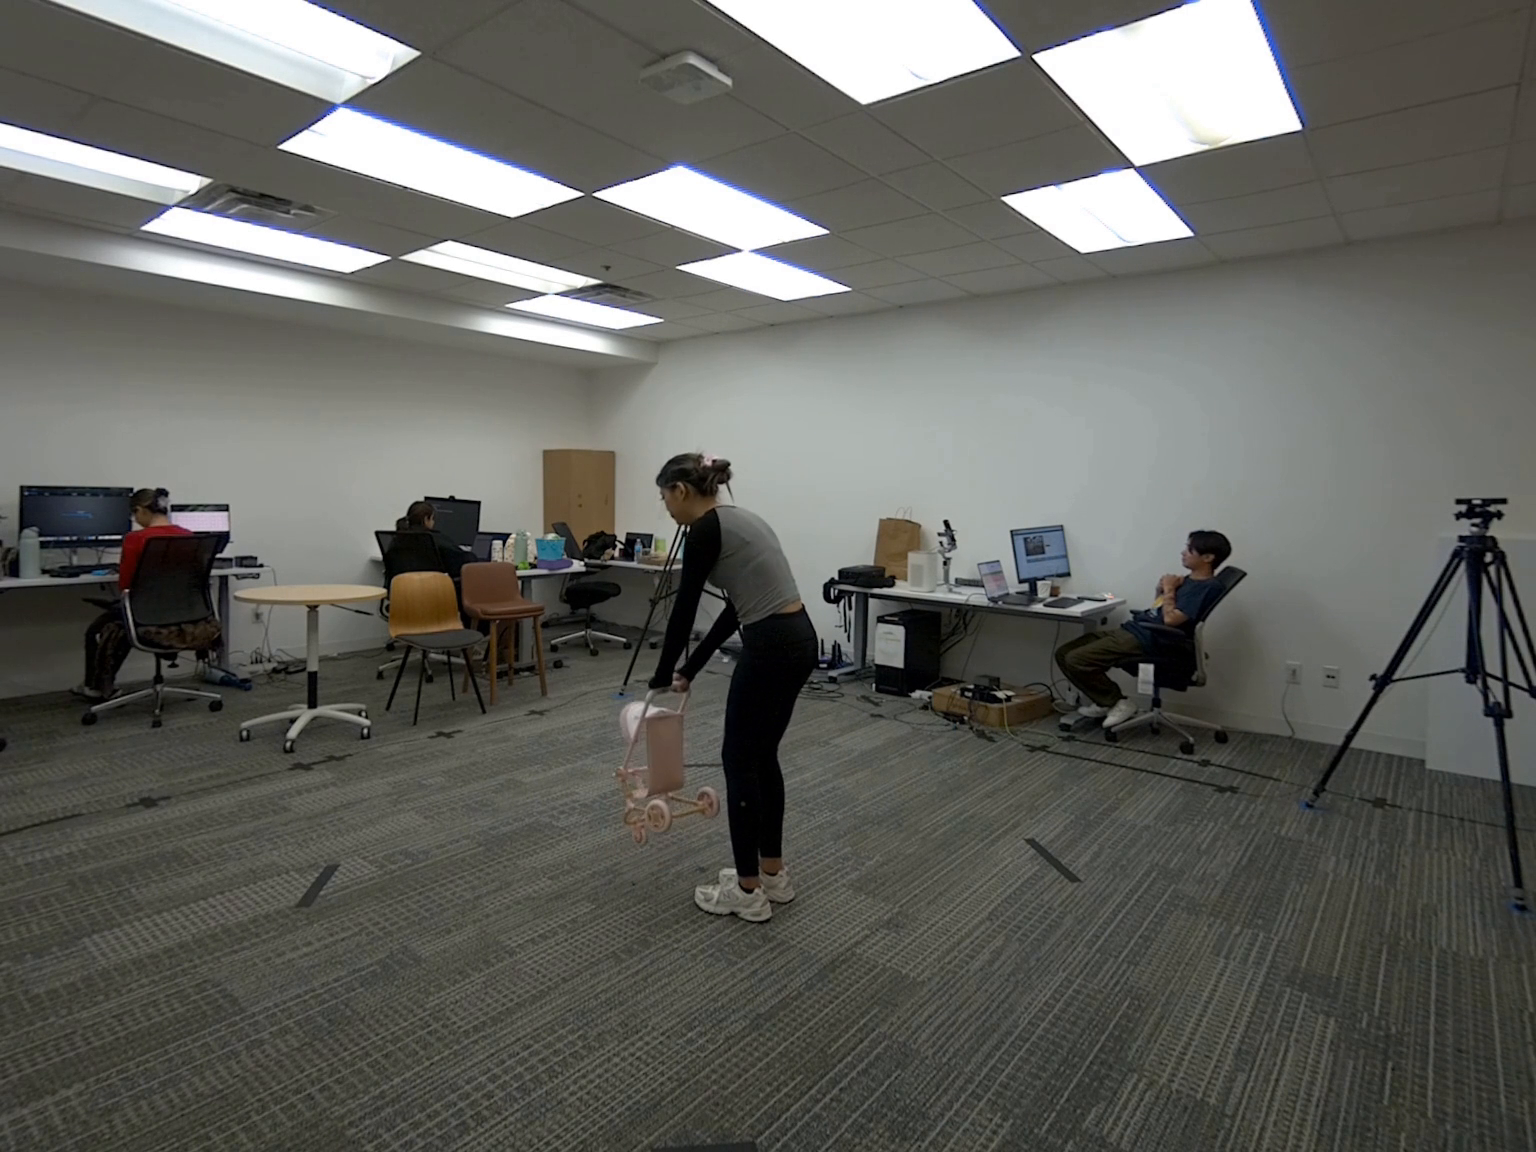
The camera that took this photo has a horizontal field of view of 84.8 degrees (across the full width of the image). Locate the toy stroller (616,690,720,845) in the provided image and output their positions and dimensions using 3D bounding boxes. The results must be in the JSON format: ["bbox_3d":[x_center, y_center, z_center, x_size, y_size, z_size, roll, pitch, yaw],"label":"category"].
[{"bbox_3d":[-0.411,0.670,3.006,0.272,0.543,0.348,2,-17,-46],"label":"toy stroller"}]
